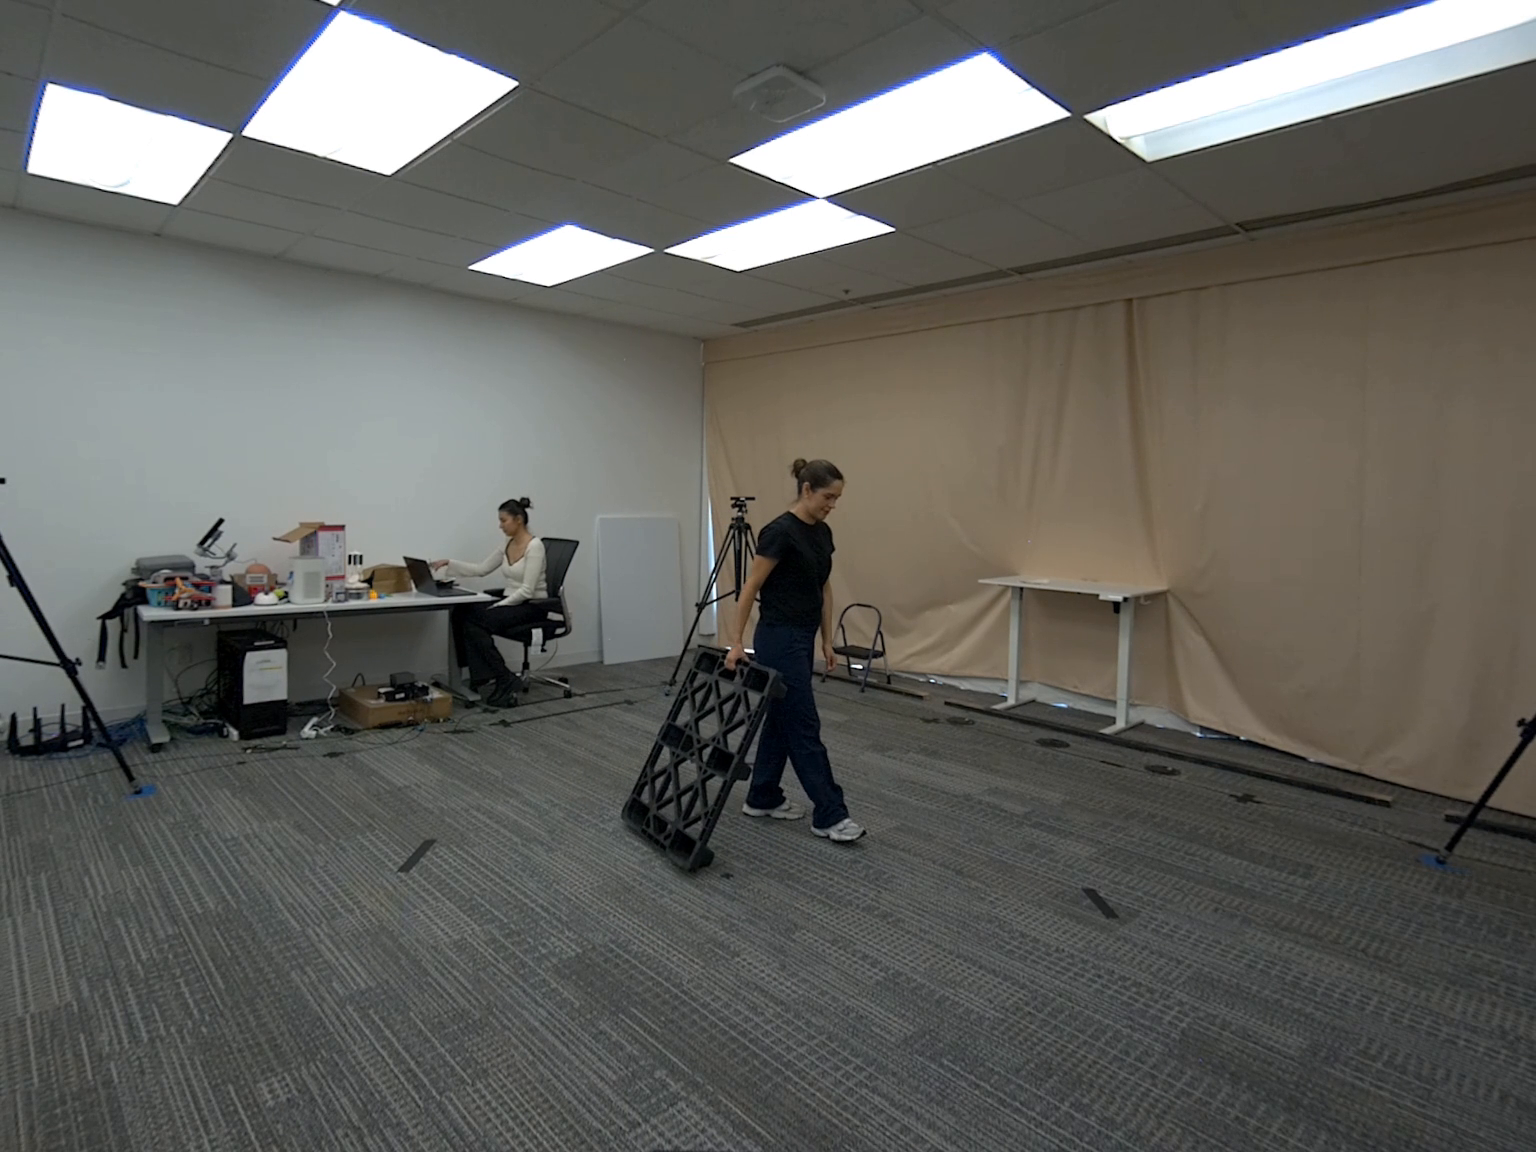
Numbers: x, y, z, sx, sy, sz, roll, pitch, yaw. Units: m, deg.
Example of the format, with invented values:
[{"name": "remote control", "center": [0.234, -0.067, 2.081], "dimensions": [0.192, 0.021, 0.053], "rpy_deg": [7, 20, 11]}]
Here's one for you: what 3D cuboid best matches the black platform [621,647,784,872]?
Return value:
[{"name": "black platform", "center": [-0.252, 0.719, 3.397], "dimensions": [0.139, 0.809, 0.620], "rpy_deg": [31, -13, -32]}]
